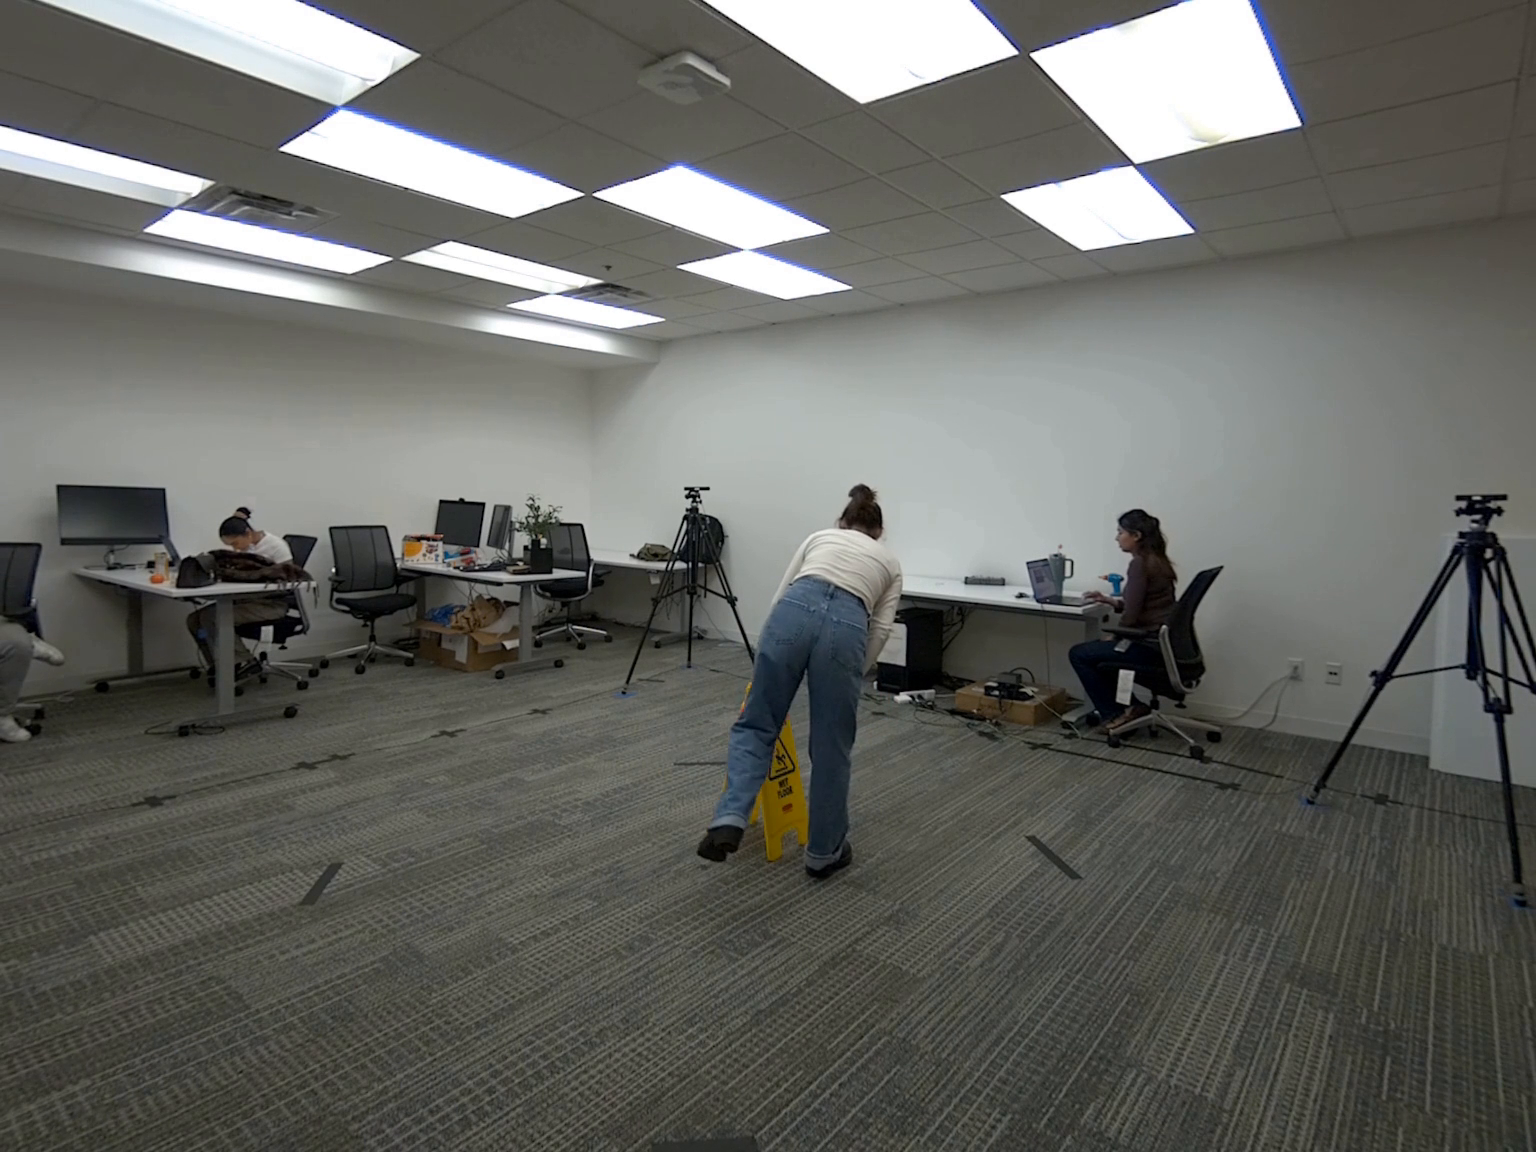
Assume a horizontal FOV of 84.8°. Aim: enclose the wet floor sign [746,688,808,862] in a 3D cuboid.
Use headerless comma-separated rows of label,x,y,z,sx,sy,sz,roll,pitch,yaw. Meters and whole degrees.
wet floor sign,-0.023,0.720,3.350,0.299,0.644,0.274,4,5,38
